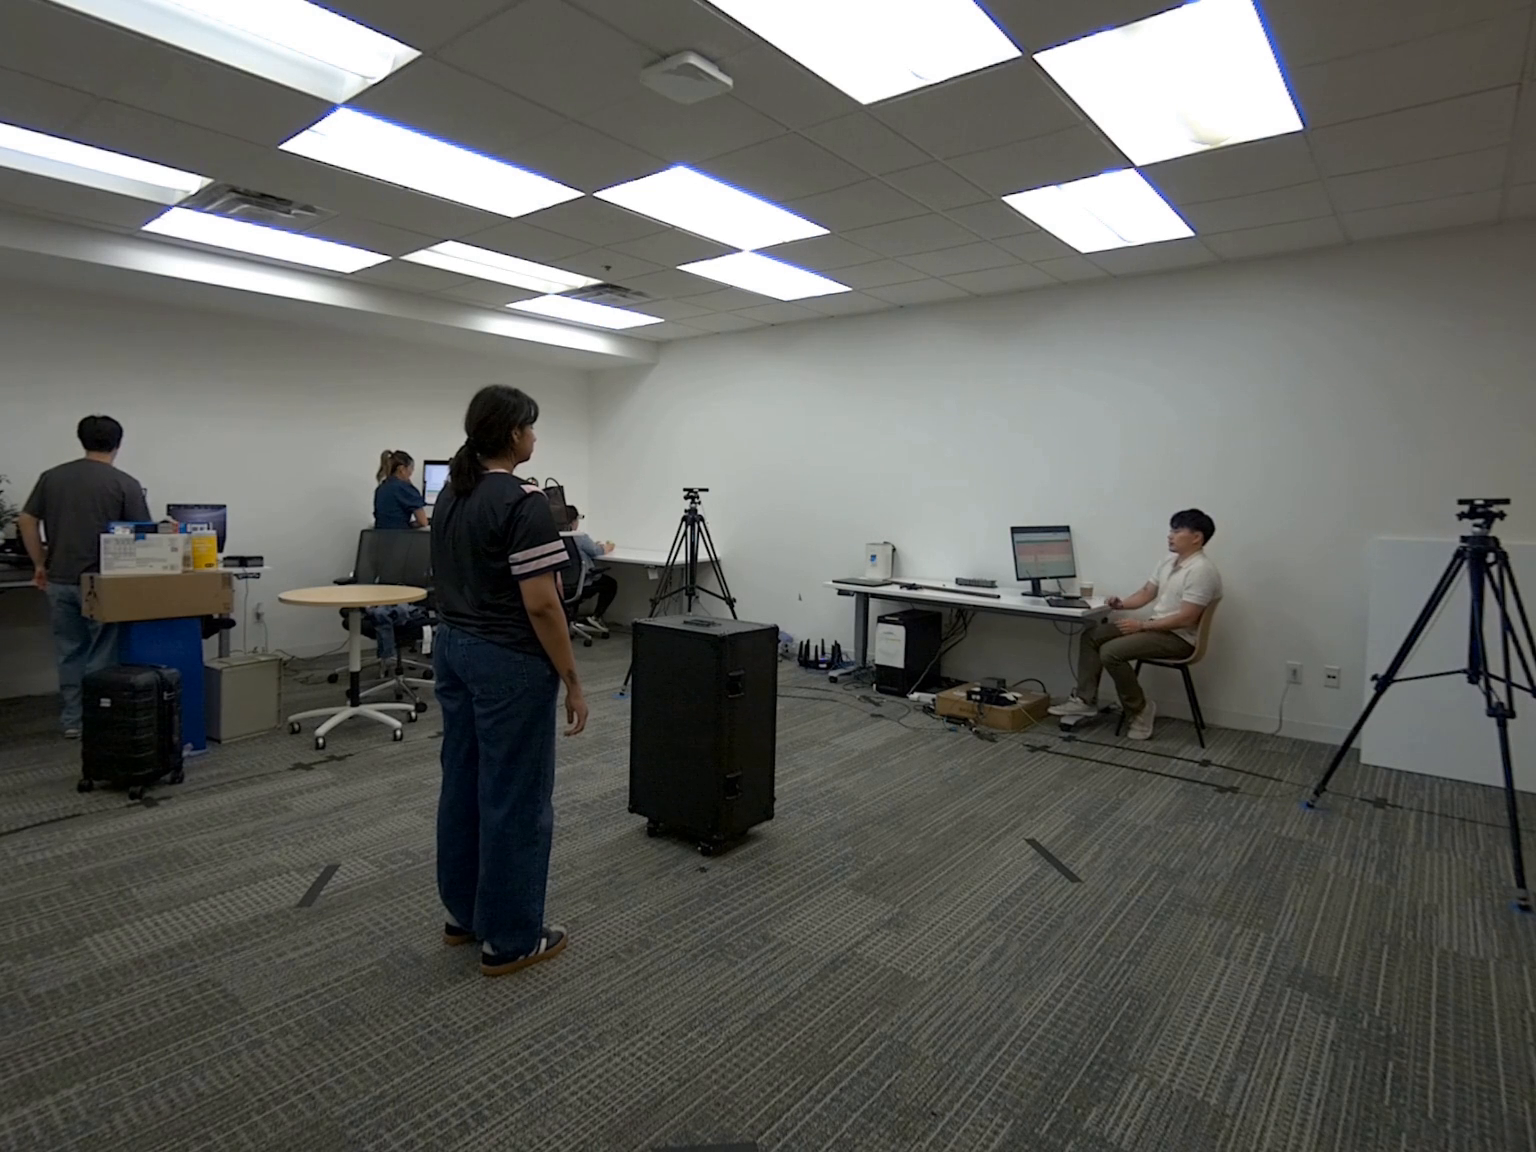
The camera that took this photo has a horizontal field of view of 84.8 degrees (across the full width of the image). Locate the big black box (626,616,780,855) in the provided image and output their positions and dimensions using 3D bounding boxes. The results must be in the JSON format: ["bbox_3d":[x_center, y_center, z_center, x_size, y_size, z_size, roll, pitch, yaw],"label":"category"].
[{"bbox_3d":[-0.280,0.615,3.442,0.541,0.867,0.373,4,3,38],"label":"big black box"}]
